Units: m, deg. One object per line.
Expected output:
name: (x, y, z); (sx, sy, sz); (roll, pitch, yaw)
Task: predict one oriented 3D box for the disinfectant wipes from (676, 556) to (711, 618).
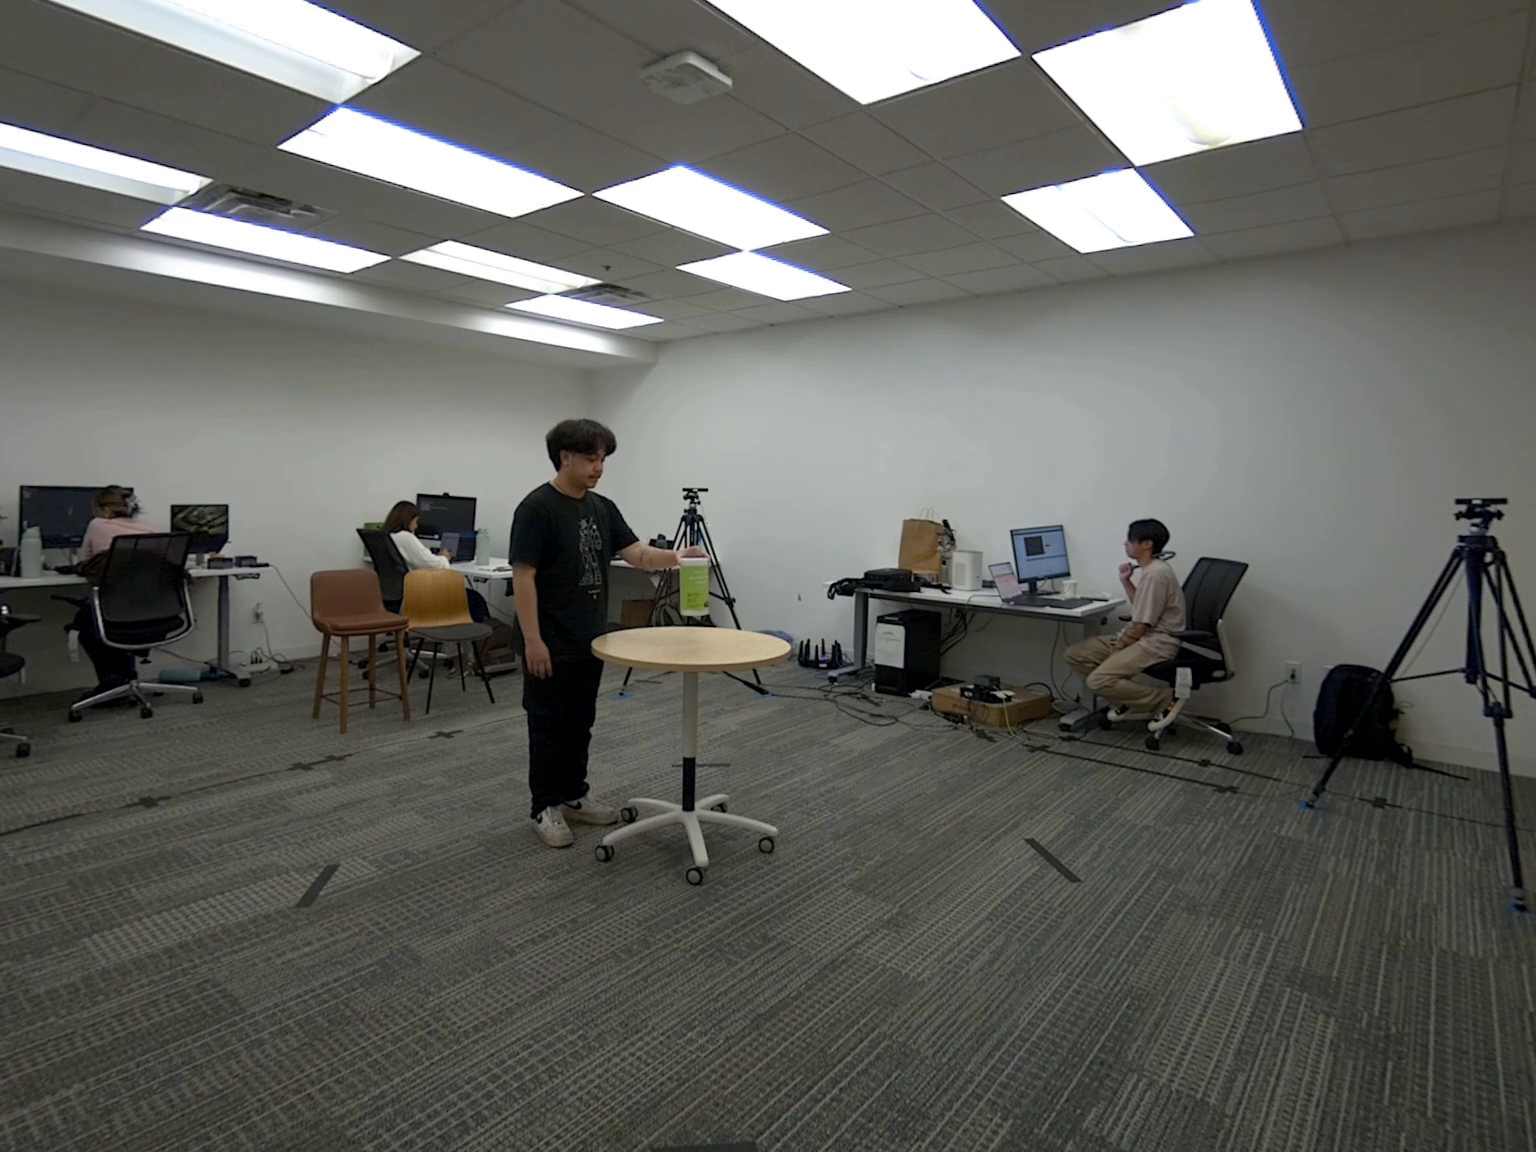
disinfectant wipes: (-0.287, 0.039, 3.232); (0.118, 0.217, 0.118); (-2, 2, -2)
